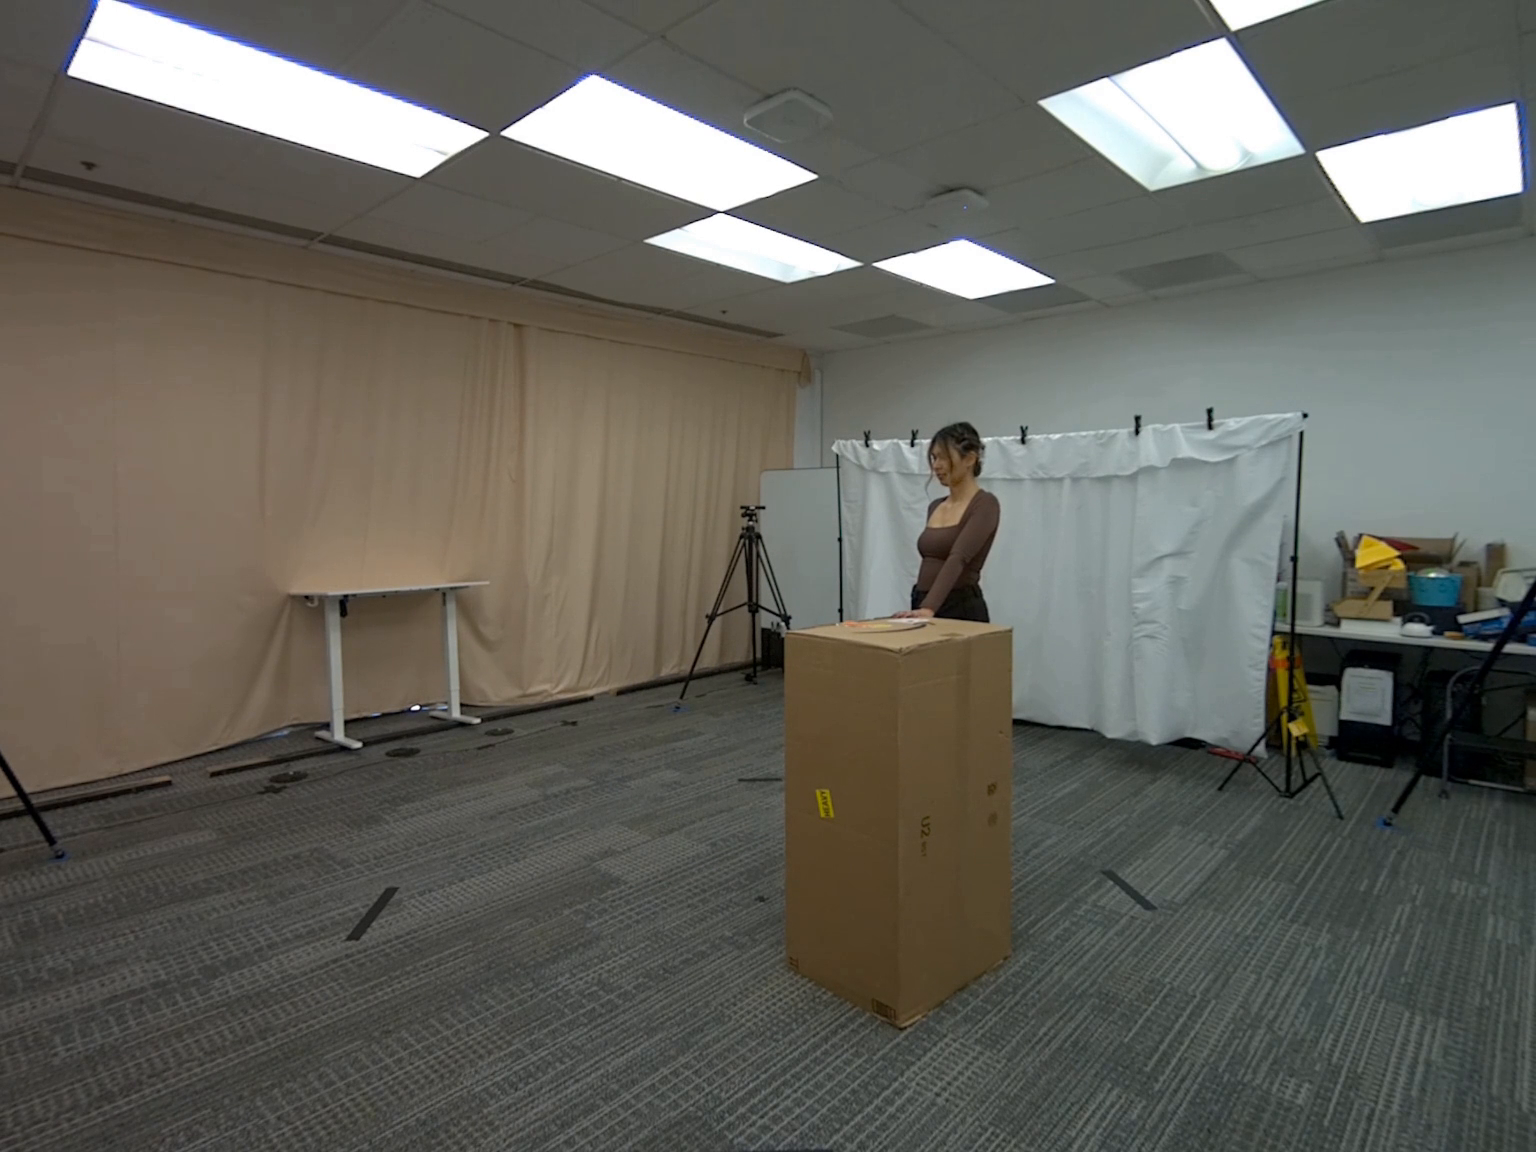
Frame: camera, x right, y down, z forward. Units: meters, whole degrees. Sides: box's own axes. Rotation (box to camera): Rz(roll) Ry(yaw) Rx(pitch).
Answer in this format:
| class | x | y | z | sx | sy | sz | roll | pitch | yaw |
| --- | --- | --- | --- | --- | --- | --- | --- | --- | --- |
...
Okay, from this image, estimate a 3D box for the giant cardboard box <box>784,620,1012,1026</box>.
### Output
| class | x | y | z | sx | sy | sz | roll | pitch | yaw |
| --- | --- | --- | --- | --- | --- | --- | --- | --- | --- |
| giant cardboard box | 0.404 | 0.670 | 2.552 | 0.566 | 1.025 | 0.461 | -3 | 3 | -41 |
